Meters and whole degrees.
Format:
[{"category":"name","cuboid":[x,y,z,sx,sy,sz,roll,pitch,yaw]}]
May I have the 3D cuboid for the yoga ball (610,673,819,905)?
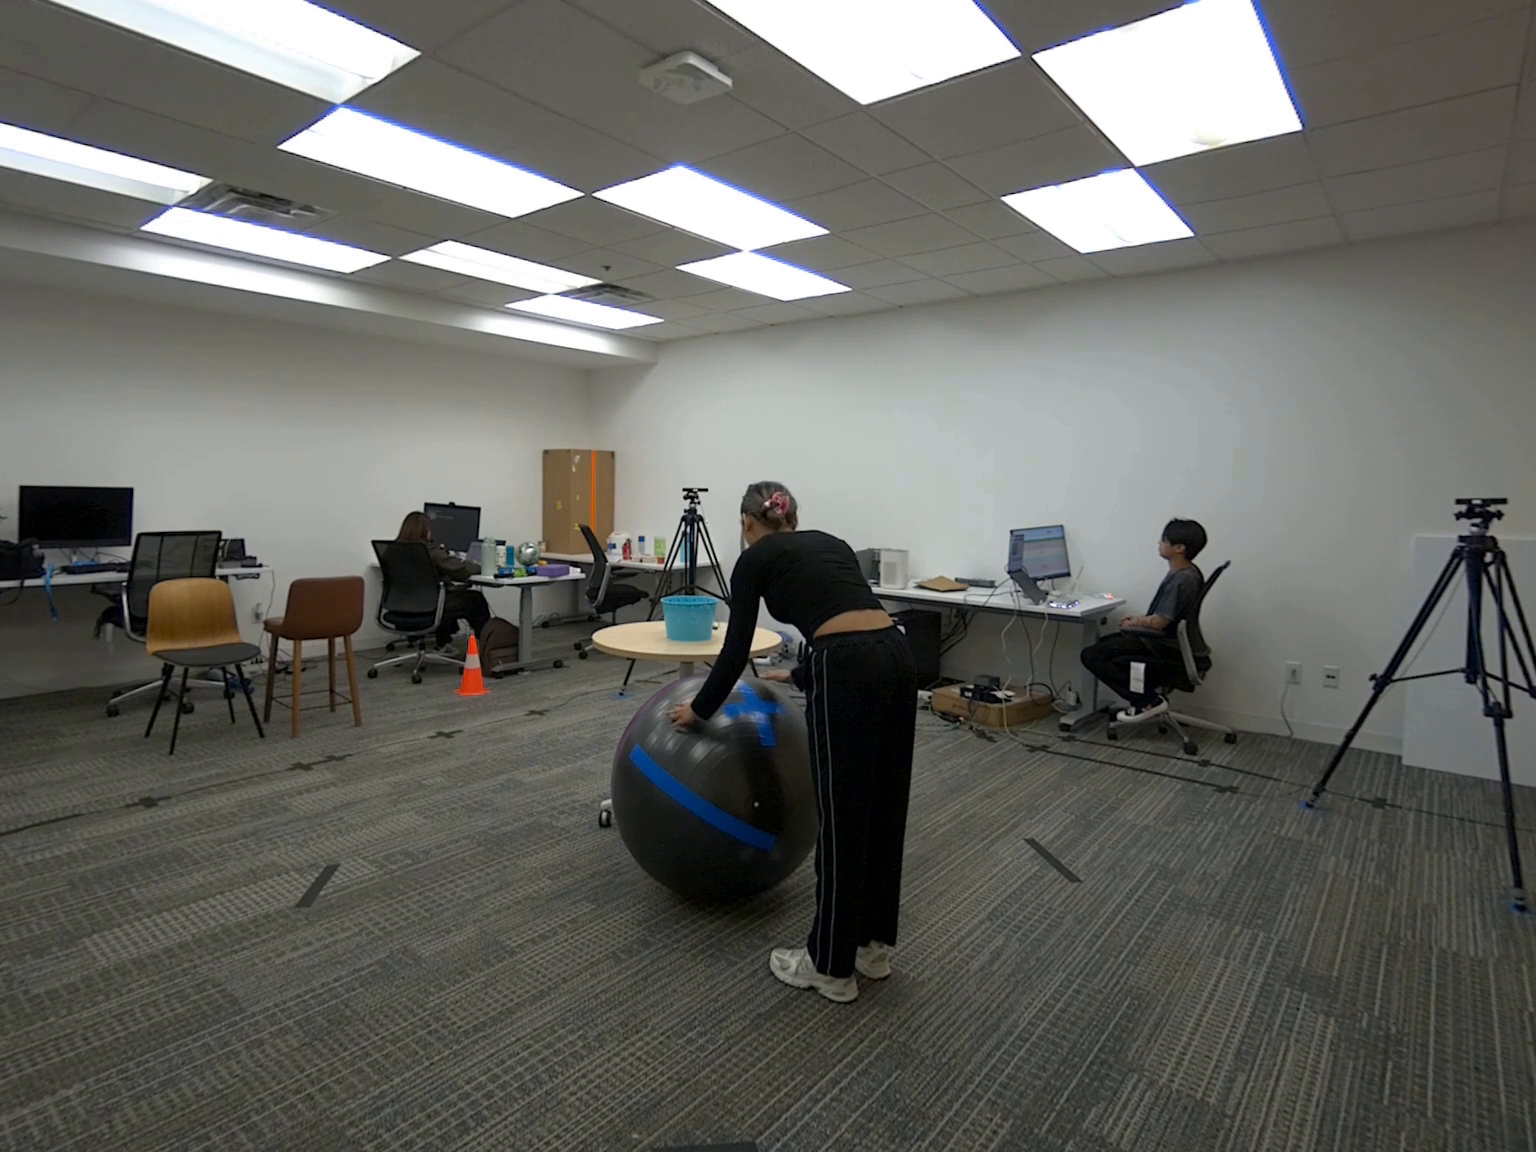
[{"category":"yoga ball","cuboid":[-0.170,0.722,2.938,0.757,0.756,0.762,1,4,-2]}]
